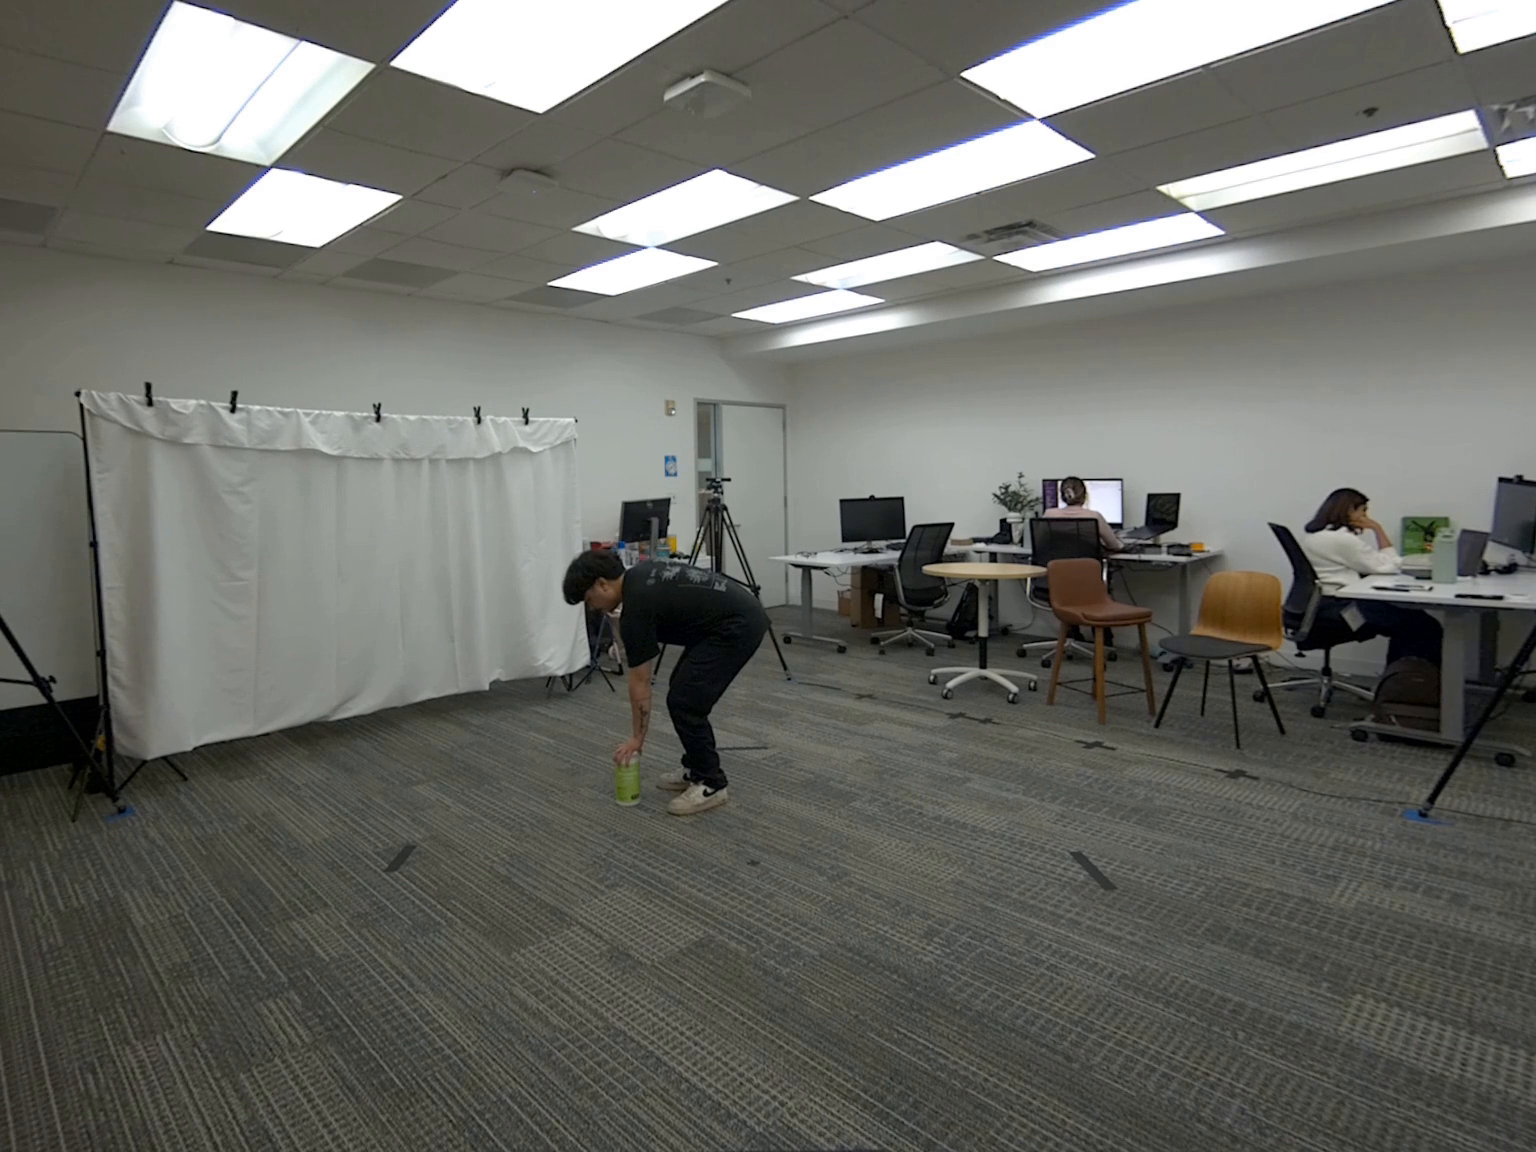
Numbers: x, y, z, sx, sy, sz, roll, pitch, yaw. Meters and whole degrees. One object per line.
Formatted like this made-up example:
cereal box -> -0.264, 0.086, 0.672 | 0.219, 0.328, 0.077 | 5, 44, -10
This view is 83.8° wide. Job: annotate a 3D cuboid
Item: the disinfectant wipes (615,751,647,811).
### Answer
disinfectant wipes -> -0.597, 0.885, 3.717 | 0.118, 0.217, 0.118 | -1, 2, -2
